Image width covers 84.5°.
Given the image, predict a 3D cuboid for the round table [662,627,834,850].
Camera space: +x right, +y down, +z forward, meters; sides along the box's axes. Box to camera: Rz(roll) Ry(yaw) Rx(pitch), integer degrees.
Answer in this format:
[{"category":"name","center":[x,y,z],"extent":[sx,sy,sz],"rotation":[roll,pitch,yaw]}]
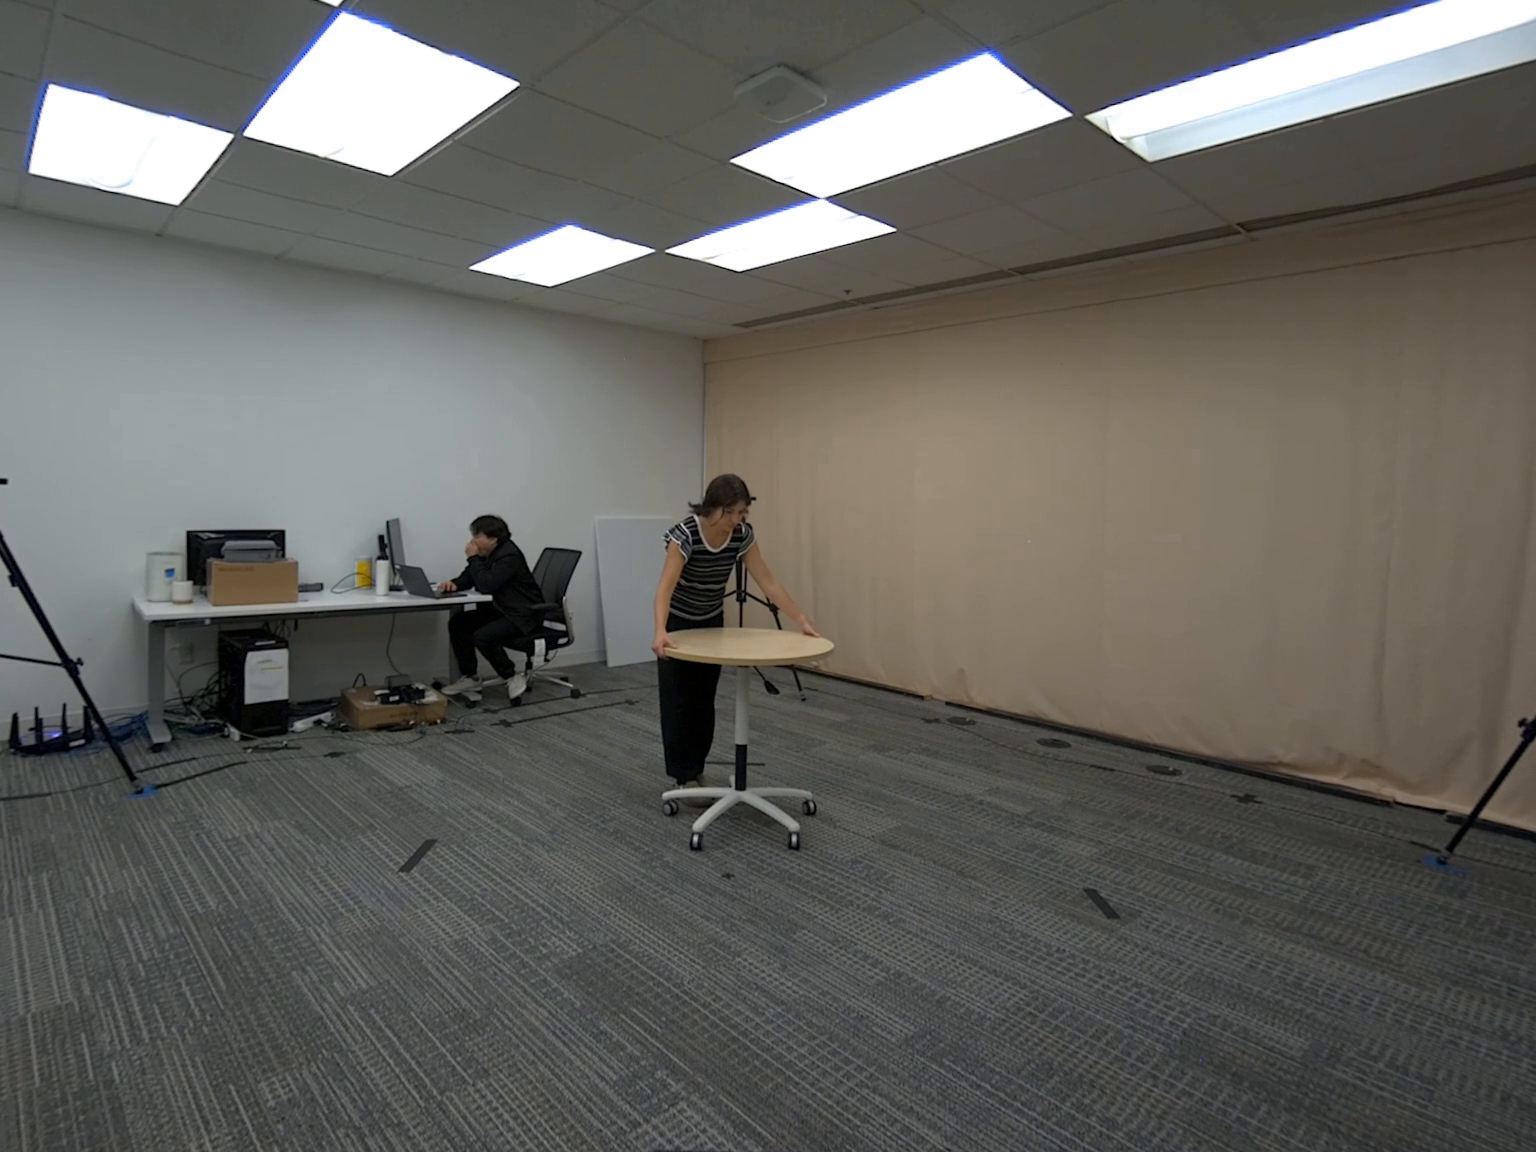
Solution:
[{"category":"round table","center":[-0.122,0.676,3.613],"extent":[0.763,0.792,0.766],"rotation":[2,4,-1]}]
